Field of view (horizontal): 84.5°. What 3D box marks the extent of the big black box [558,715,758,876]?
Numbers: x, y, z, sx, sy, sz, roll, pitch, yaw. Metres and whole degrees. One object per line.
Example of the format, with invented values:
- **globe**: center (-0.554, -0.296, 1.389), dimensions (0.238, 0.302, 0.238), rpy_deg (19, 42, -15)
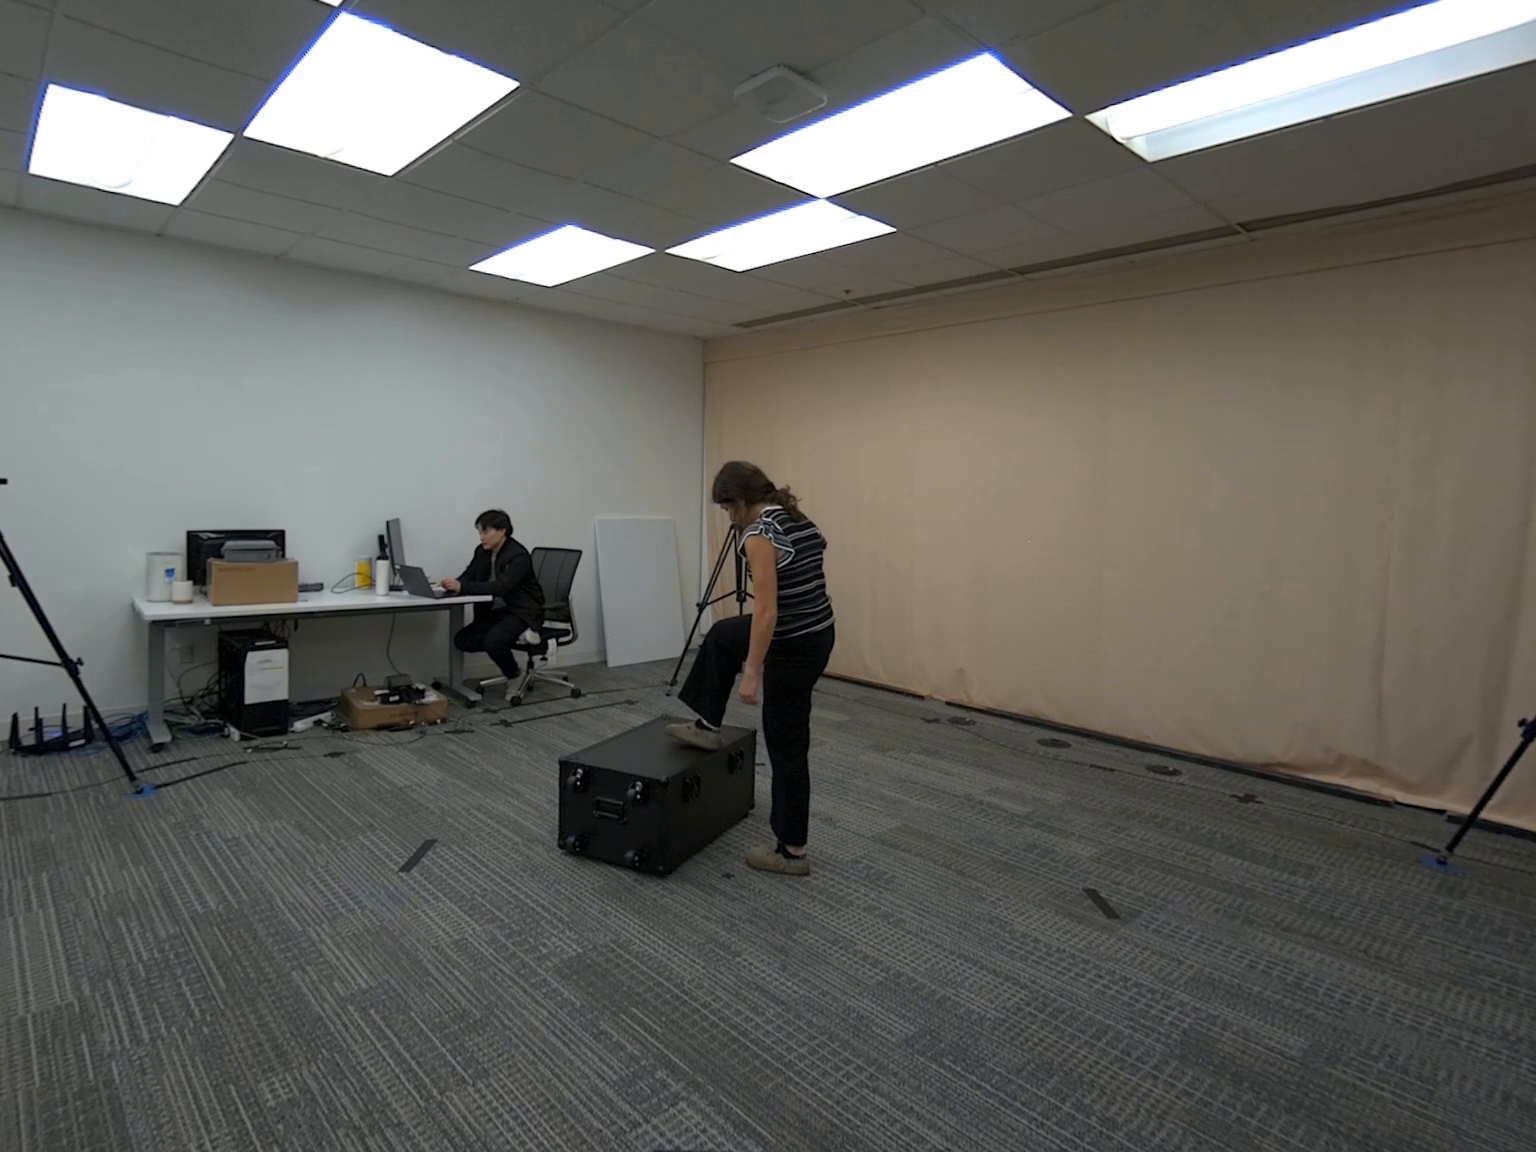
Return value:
- **big black box**: center (-0.454, 0.878, 3.457), dimensions (0.531, 0.395, 0.847), rpy_deg (4, 5, 25)
